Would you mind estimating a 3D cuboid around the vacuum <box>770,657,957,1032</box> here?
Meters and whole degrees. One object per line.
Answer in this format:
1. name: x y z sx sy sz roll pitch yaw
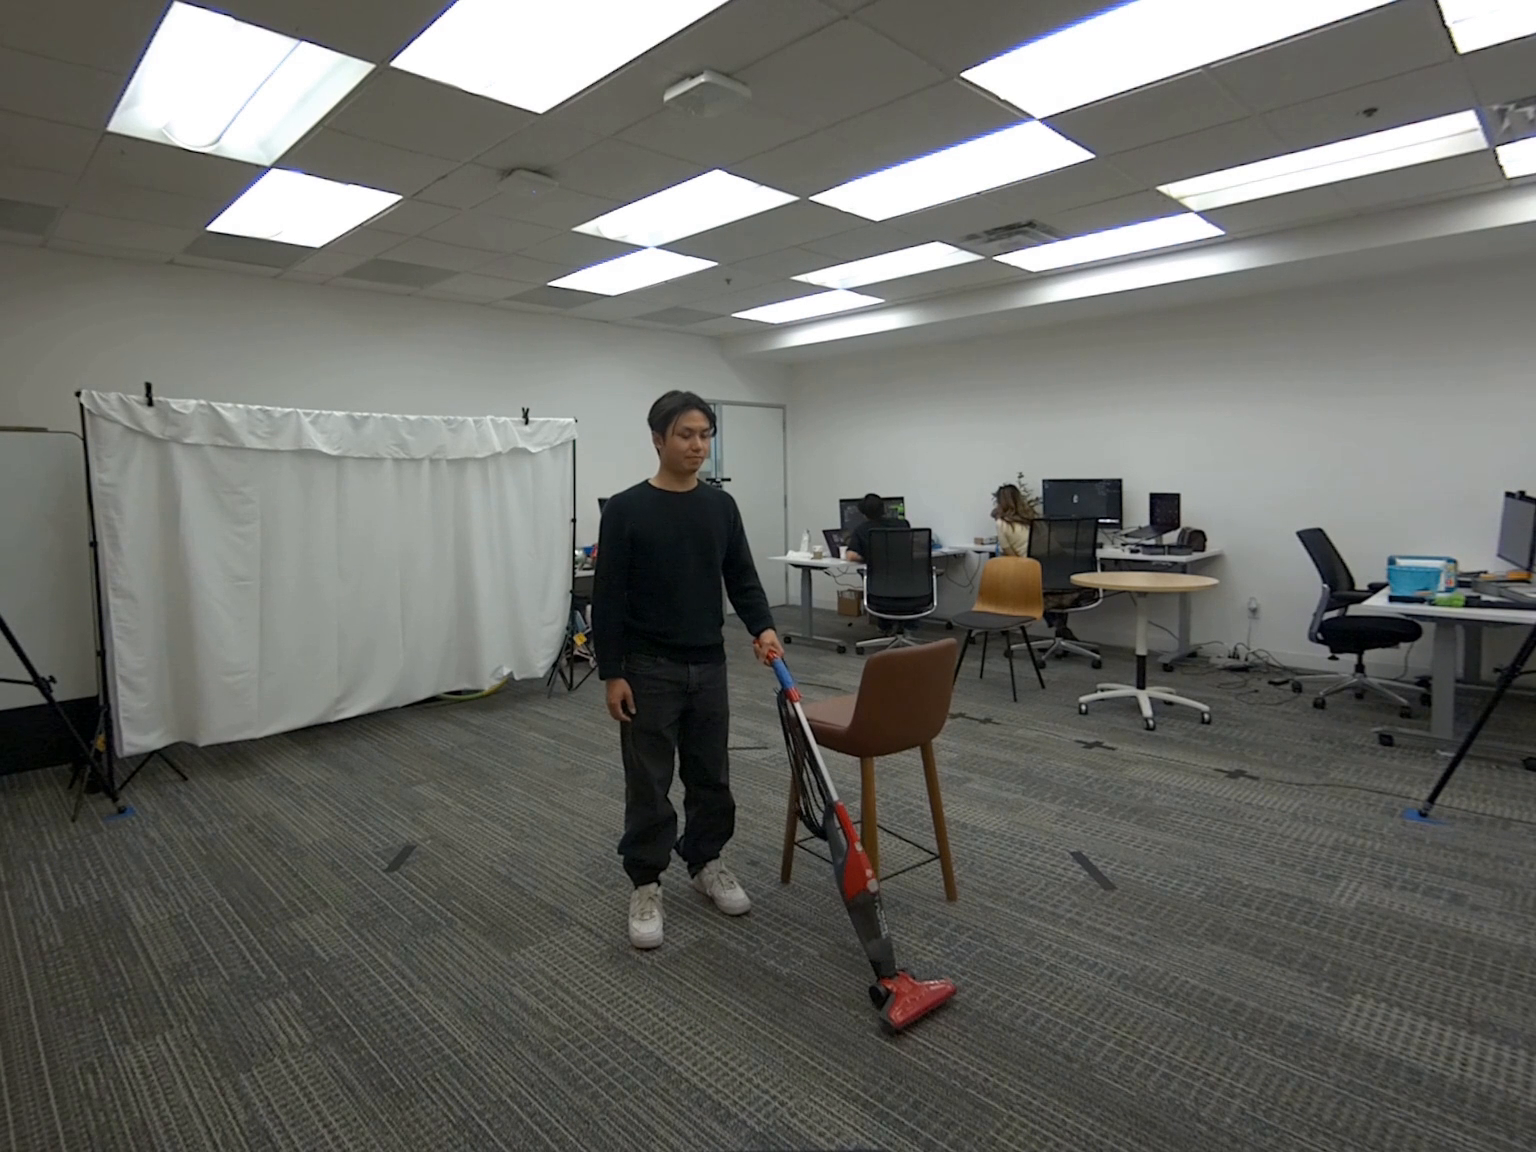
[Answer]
1. vacuum: 0.179 0.666 2.424 0.246 1.076 0.144 -7 -27 -35
